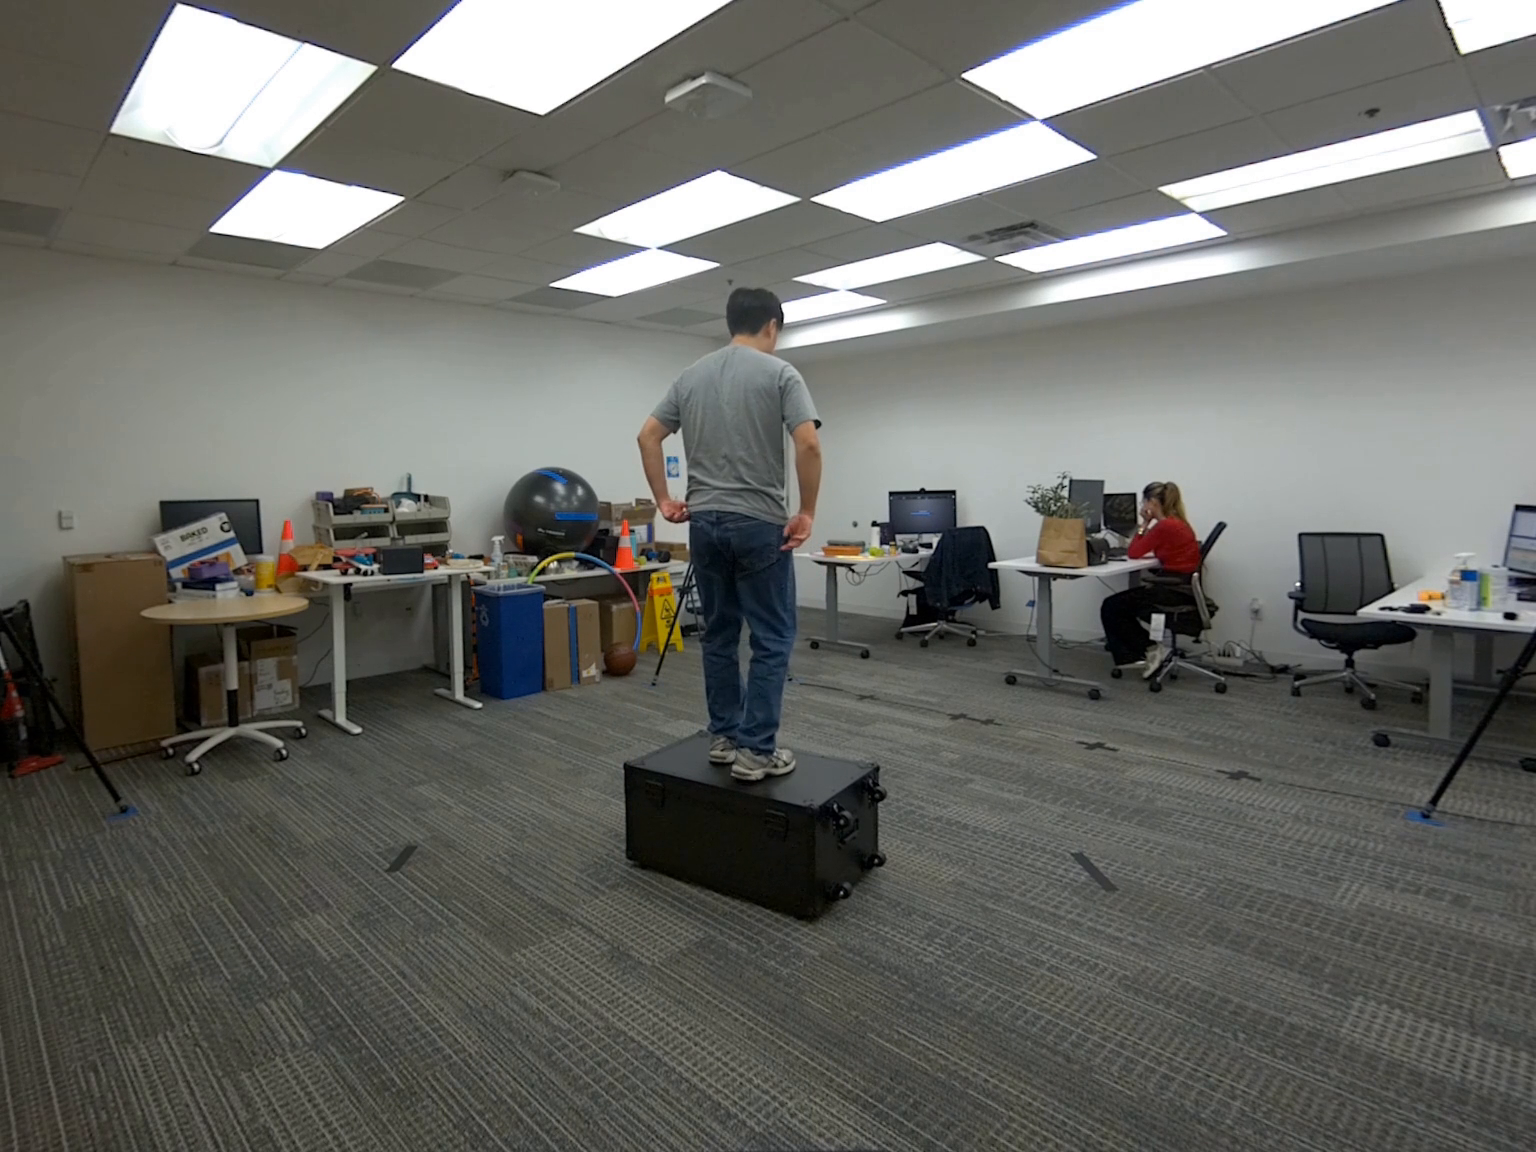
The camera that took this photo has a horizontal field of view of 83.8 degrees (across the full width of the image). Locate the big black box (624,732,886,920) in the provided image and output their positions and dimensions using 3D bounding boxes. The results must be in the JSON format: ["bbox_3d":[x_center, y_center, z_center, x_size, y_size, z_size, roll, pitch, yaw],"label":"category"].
[{"bbox_3d":[-0.033,0.861,3.050,0.885,0.395,0.509,3,6,33],"label":"big black box"}]
